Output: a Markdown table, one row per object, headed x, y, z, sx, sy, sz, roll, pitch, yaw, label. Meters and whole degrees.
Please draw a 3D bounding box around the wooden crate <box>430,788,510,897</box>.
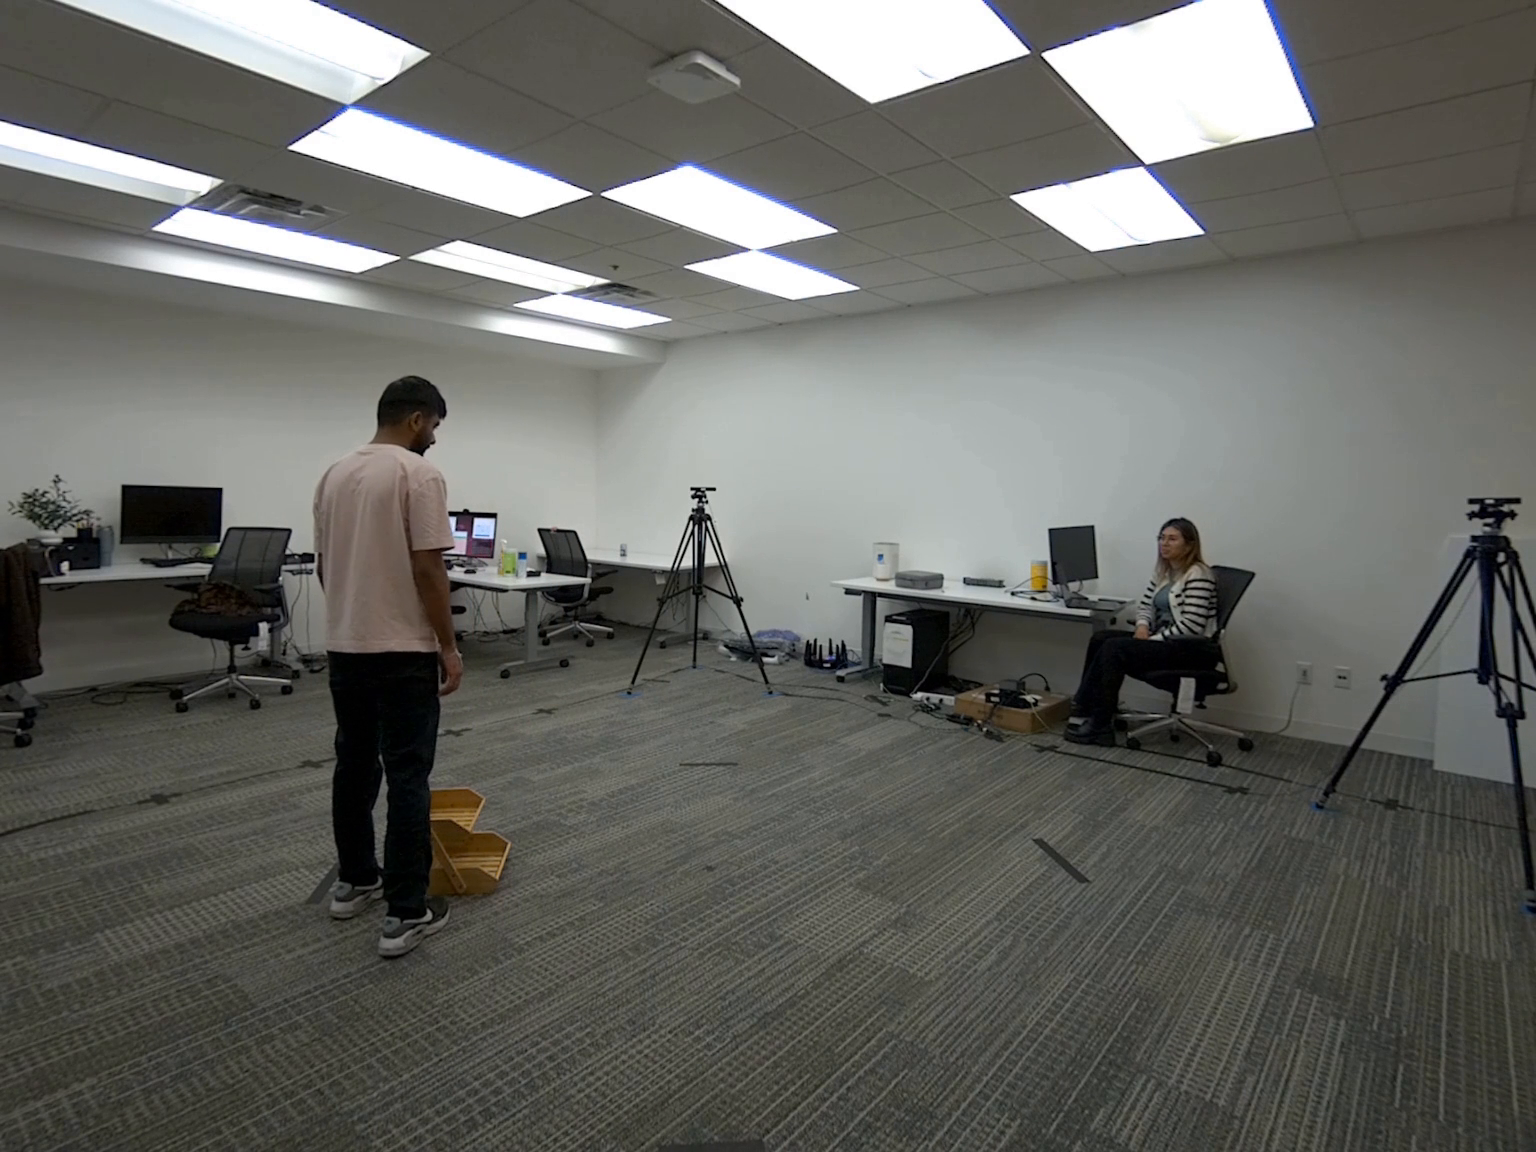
| x | y | z | sx | sy | sz | roll | pitch | yaw | label |
| --- | --- | --- | --- | --- | --- | --- | --- | --- | --- |
| -1.095 | 0.926 | 3.018 | 0.300 | 0.272 | 0.328 | -2 | 5 | -8 | wooden crate |
